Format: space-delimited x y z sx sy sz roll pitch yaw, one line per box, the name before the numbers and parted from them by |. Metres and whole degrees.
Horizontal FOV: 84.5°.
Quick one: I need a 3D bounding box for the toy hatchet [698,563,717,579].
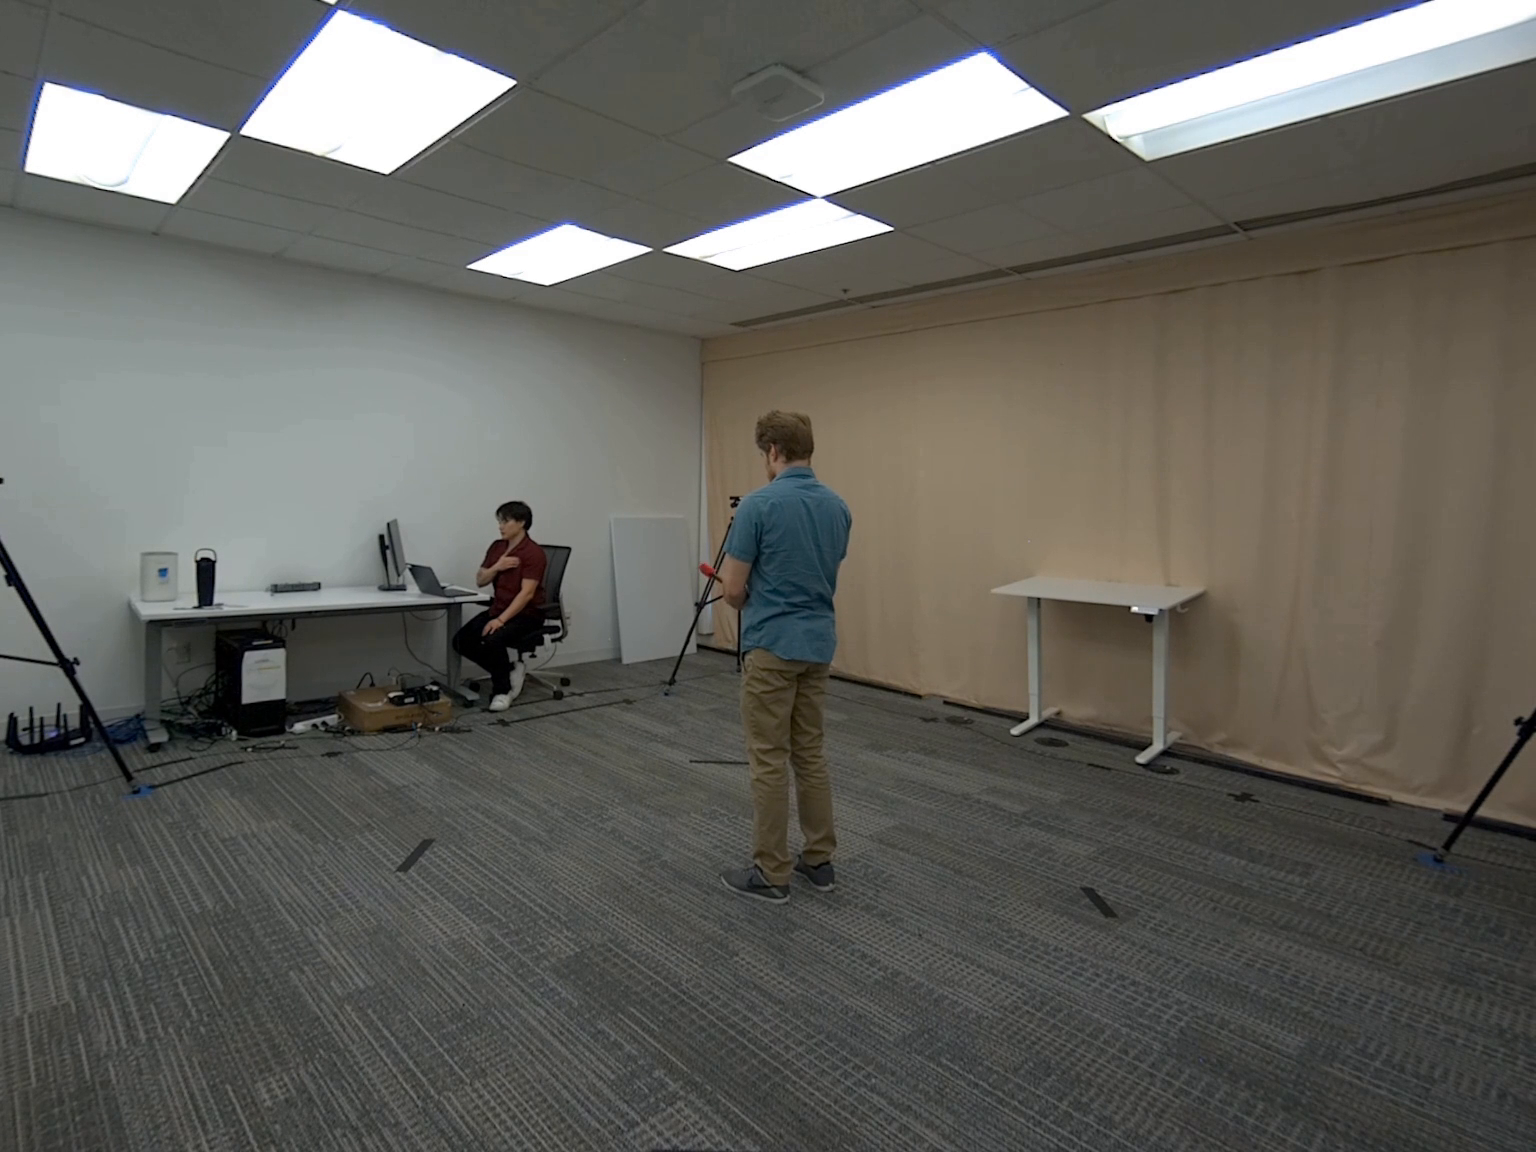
toy hatchet | -0.177 0.022 3.256 0.278 0.029 0.127 24 -22 36
